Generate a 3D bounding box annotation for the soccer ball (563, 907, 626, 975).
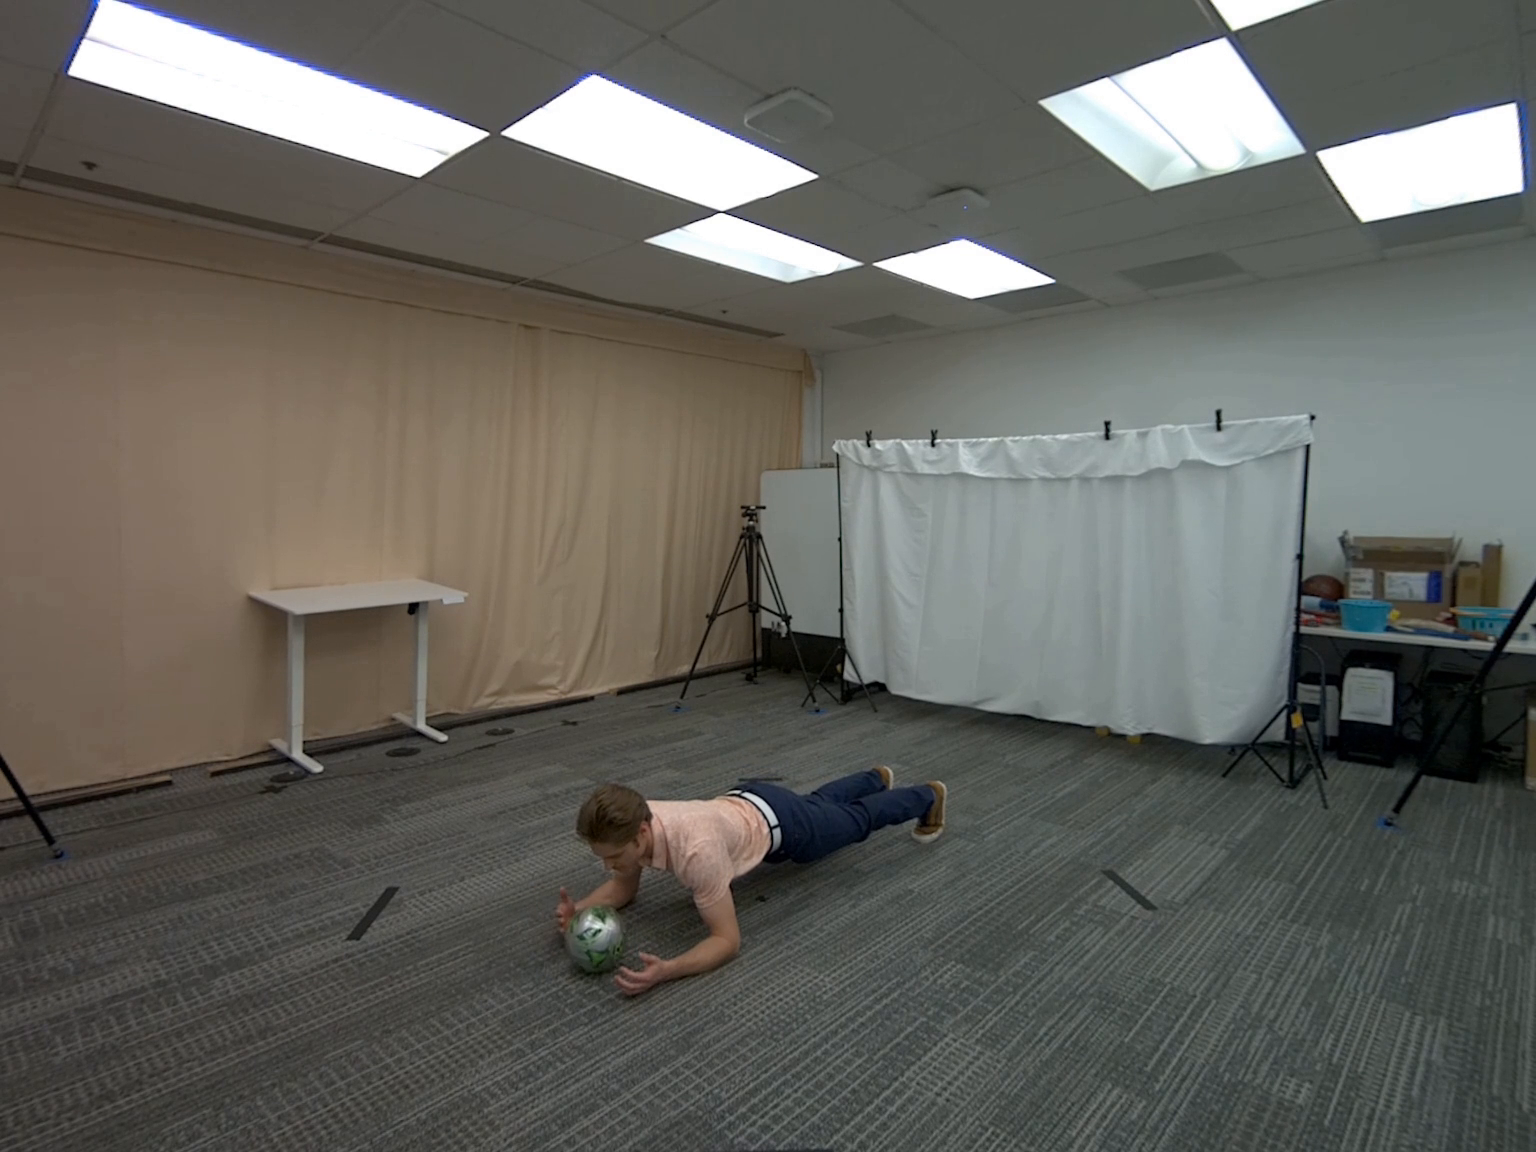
[{"bbox_3d":[-0.520,1.088,2.540,0.187,0.187,0.188,0,4,-2],"label":"soccer ball"}]
